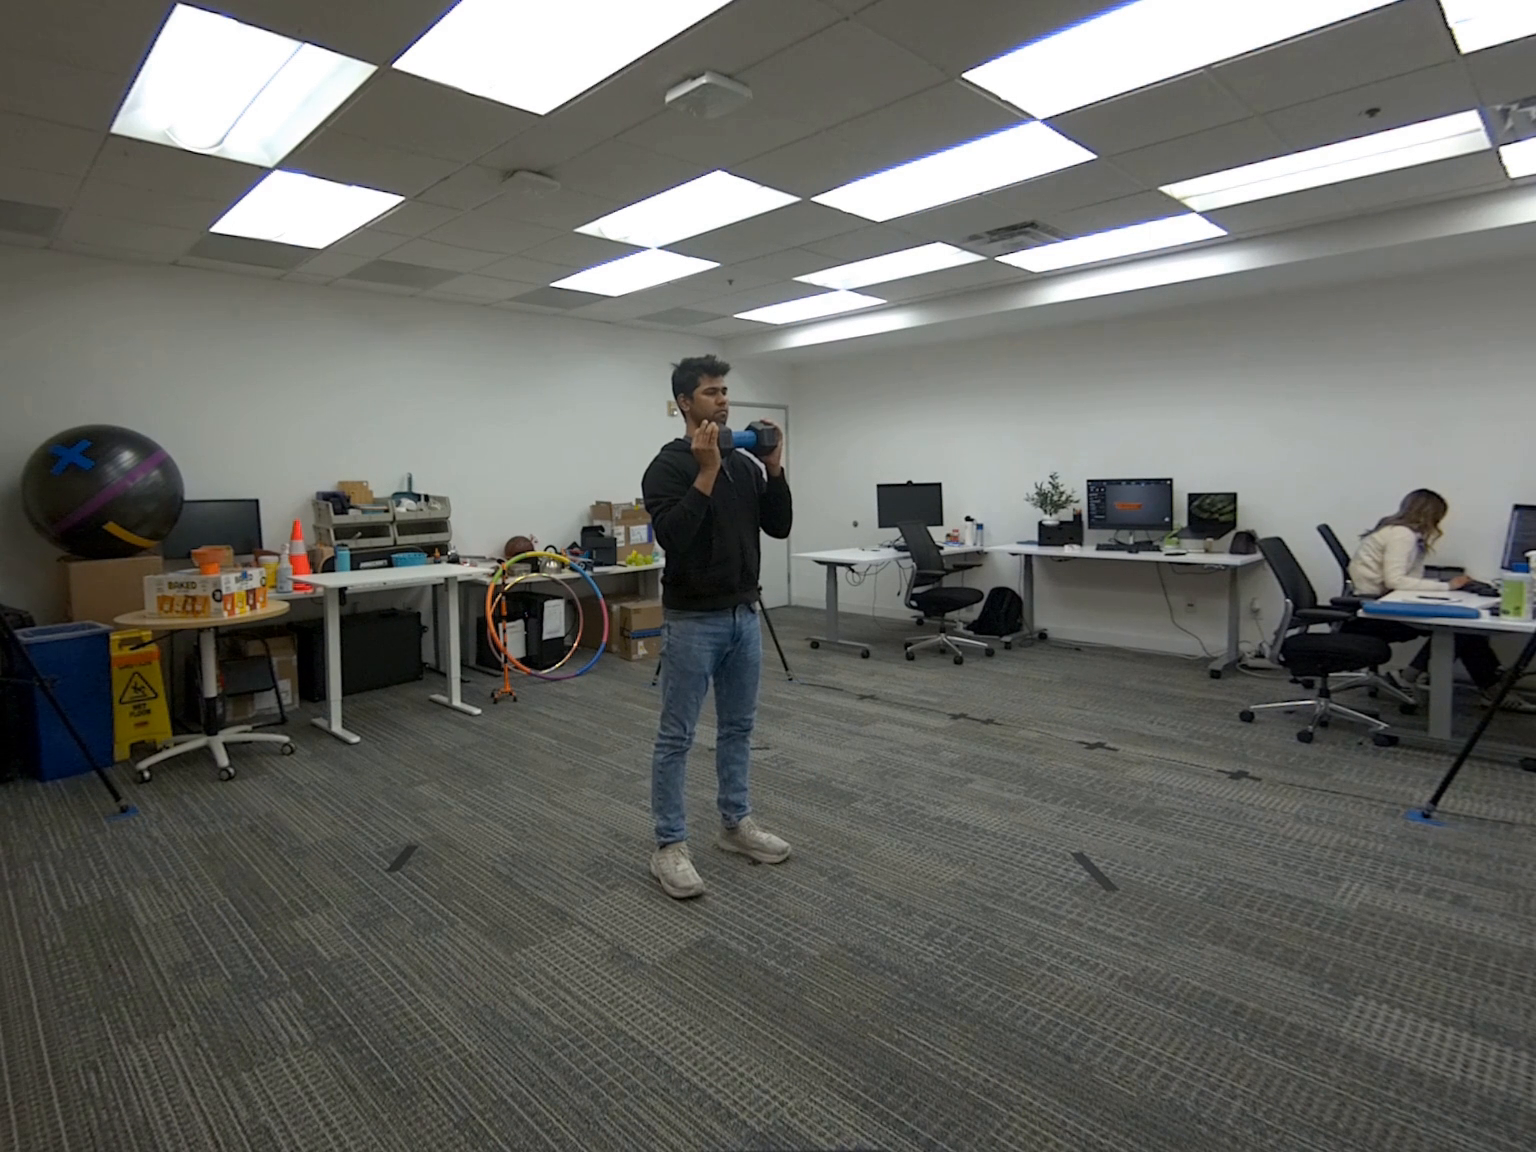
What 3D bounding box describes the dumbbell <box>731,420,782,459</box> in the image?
[{"bbox_3d":[-0.105,-0.463,2.910,0.111,0.122,0.286,-4,5,45],"label":"dumbbell"}]
